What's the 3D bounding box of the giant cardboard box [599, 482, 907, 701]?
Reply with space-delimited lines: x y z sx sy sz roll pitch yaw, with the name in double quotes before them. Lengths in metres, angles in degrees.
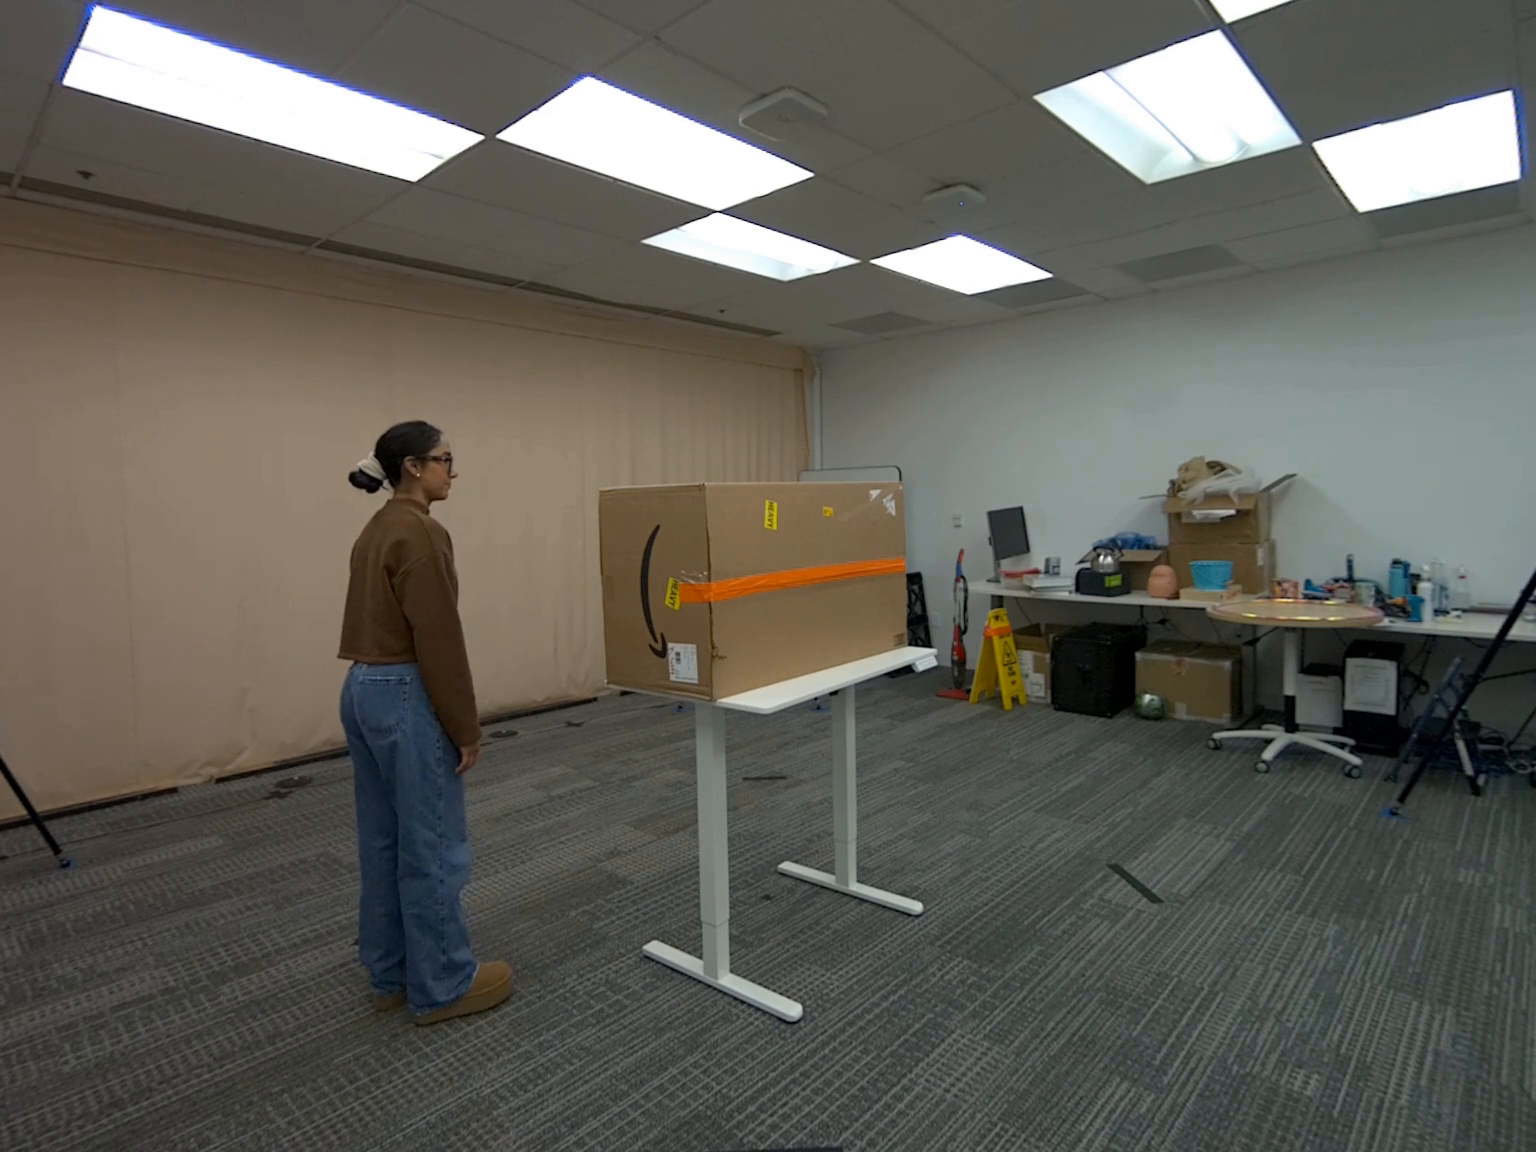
"giant cardboard box" 0.000 0.000 2.697 0.440 0.576 0.995 0 5 40
